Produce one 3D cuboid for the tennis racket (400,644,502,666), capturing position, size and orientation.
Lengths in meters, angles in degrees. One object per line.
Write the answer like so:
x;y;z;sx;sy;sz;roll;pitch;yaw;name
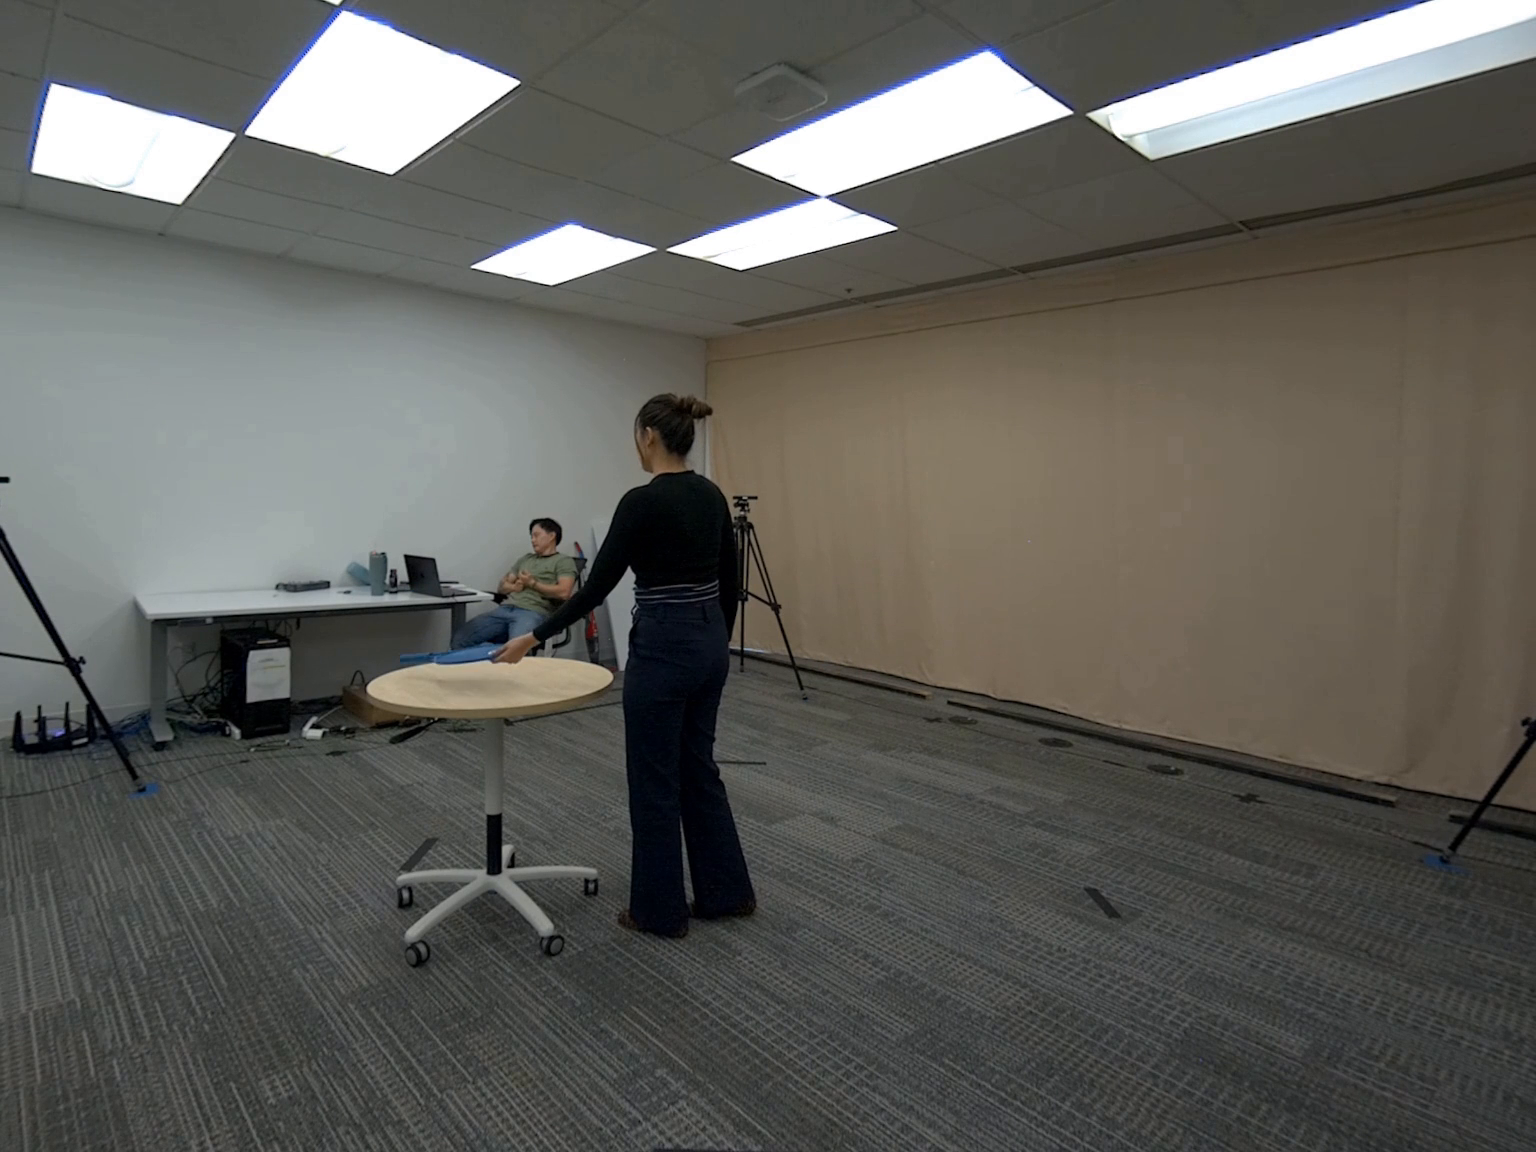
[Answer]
-1.011;0.256;2.668;0.438;0.031;0.212;-7;8;16;tennis racket
